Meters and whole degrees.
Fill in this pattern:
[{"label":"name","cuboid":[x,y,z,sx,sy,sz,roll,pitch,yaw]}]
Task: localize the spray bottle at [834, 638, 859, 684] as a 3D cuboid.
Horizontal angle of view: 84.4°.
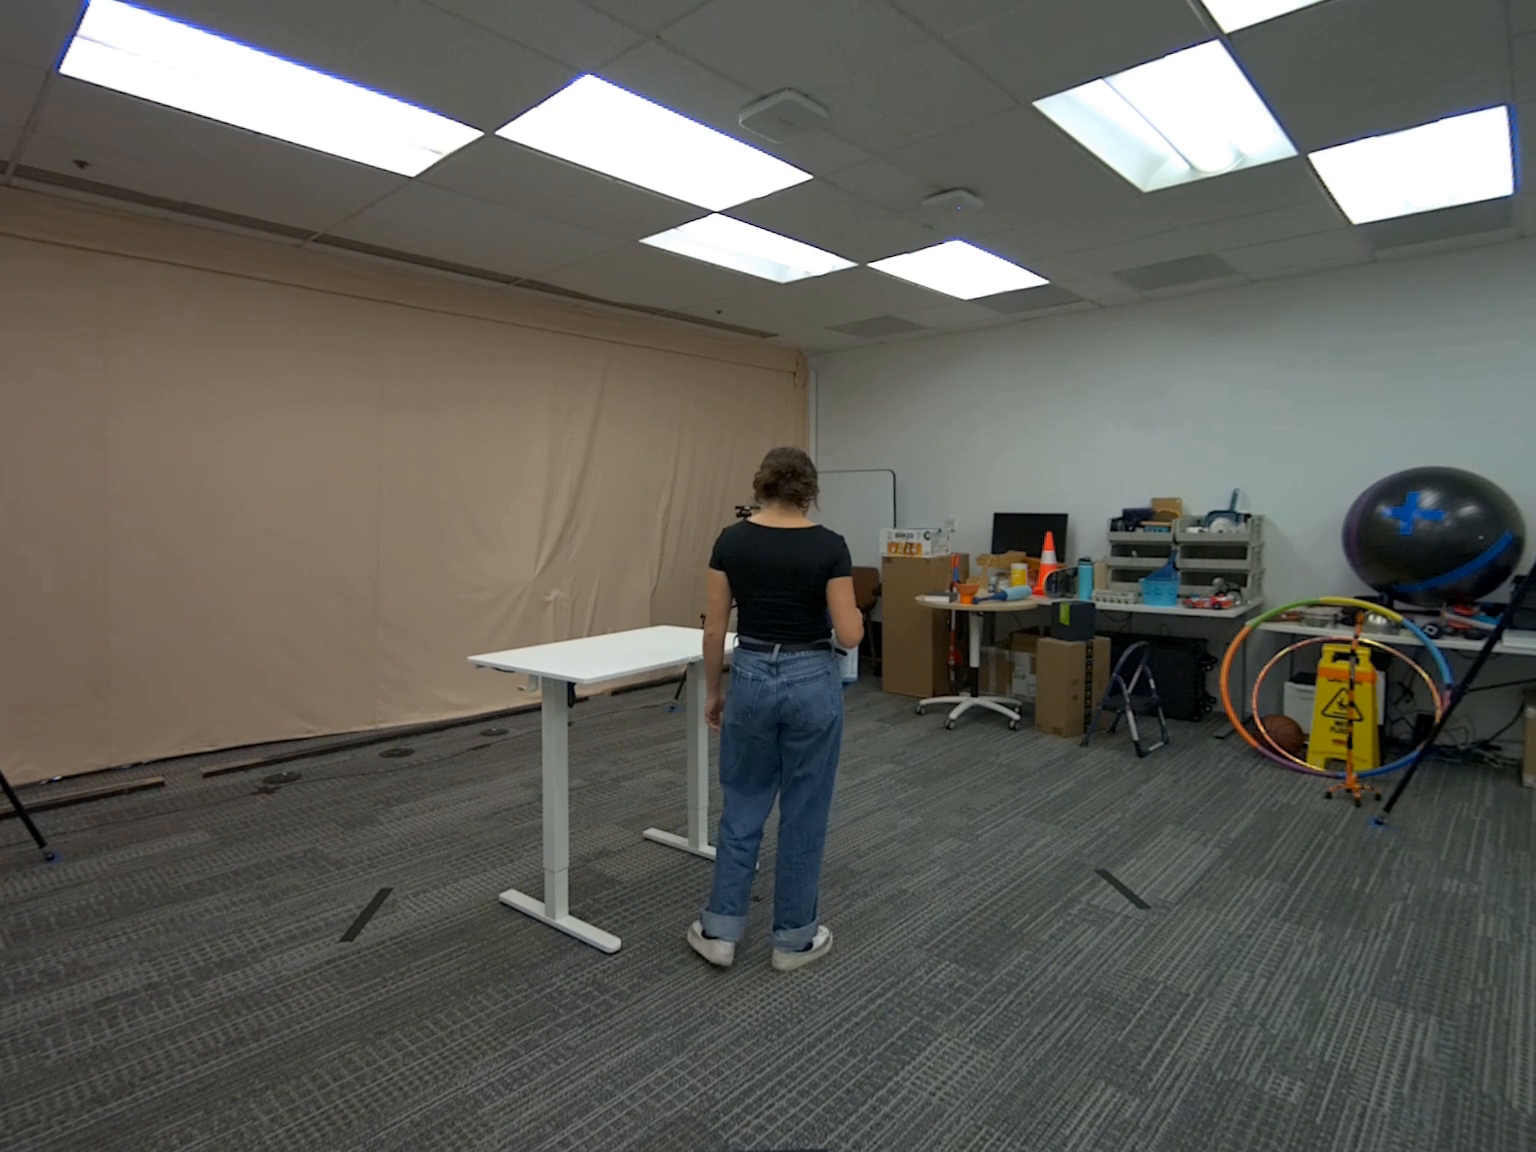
[{"label":"spray bottle","cuboid":[0.247,0.187,2.680,0.089,0.297,0.087,1,-1,27]}]
